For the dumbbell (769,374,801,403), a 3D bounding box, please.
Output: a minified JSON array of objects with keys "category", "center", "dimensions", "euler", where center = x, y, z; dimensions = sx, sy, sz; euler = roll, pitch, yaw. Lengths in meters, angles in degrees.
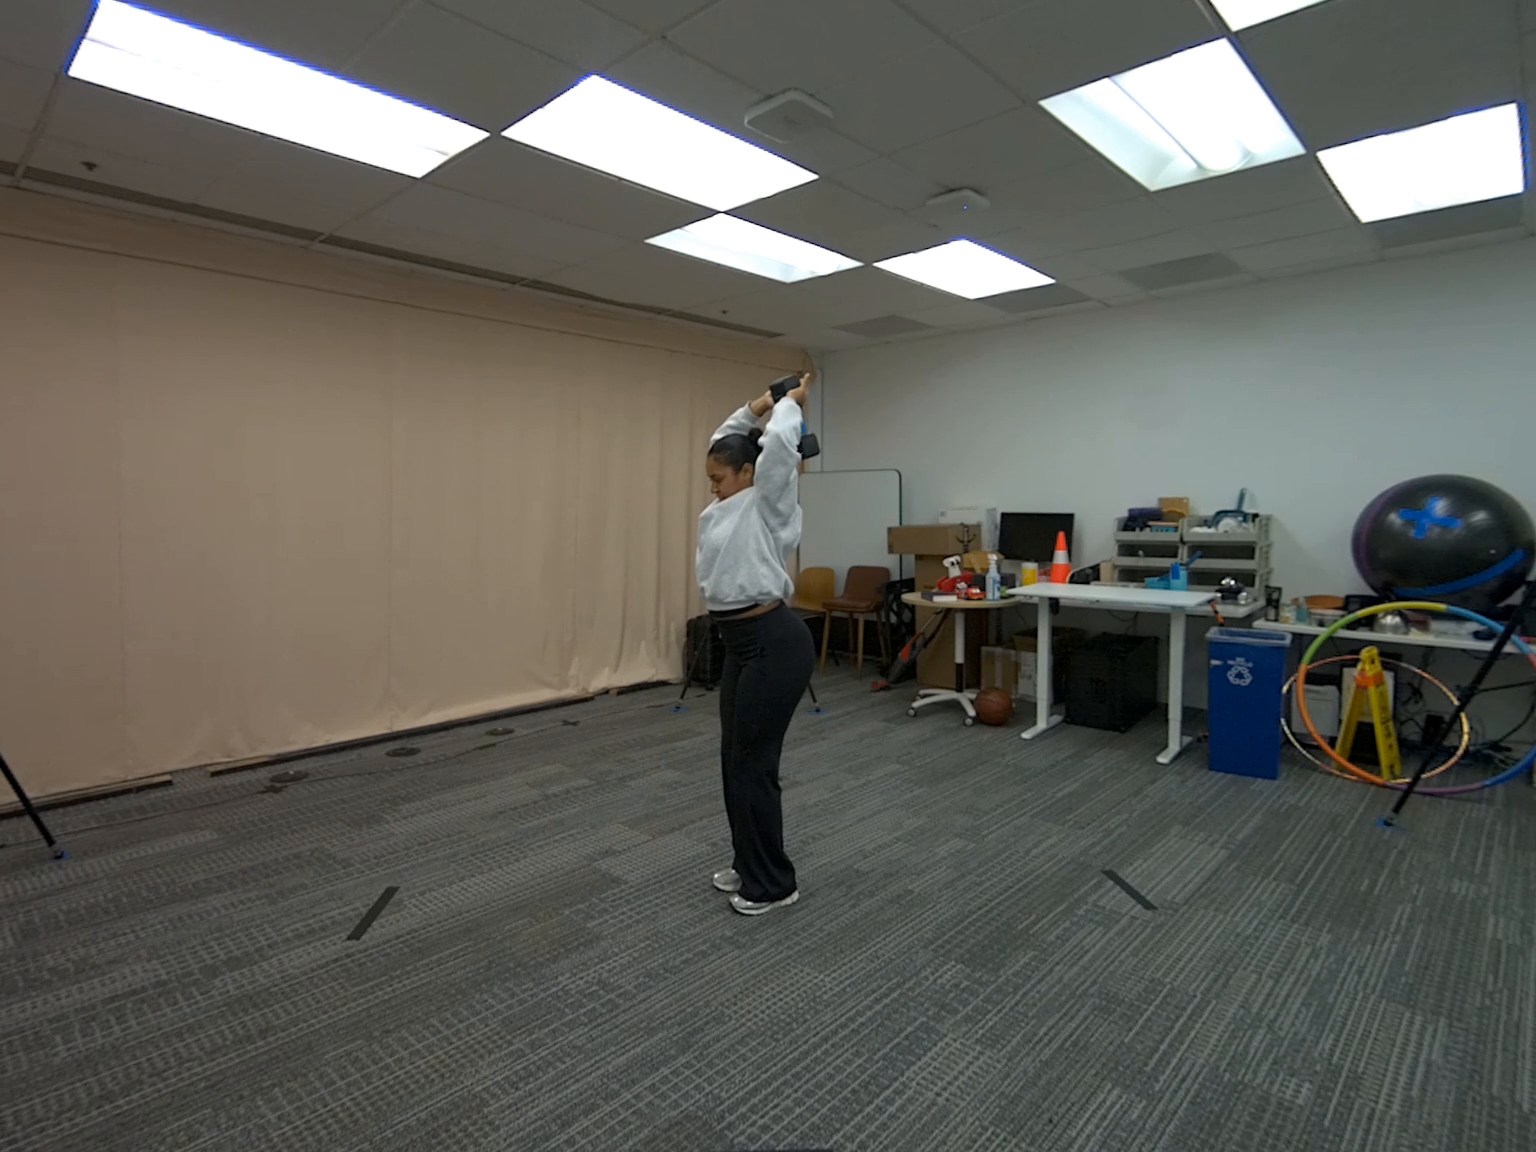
[{"category":"dumbbell","center":[0.104,-0.563,2.974],"dimensions":[0.126,0.291,0.107],"euler":[-11,13,34]}]
